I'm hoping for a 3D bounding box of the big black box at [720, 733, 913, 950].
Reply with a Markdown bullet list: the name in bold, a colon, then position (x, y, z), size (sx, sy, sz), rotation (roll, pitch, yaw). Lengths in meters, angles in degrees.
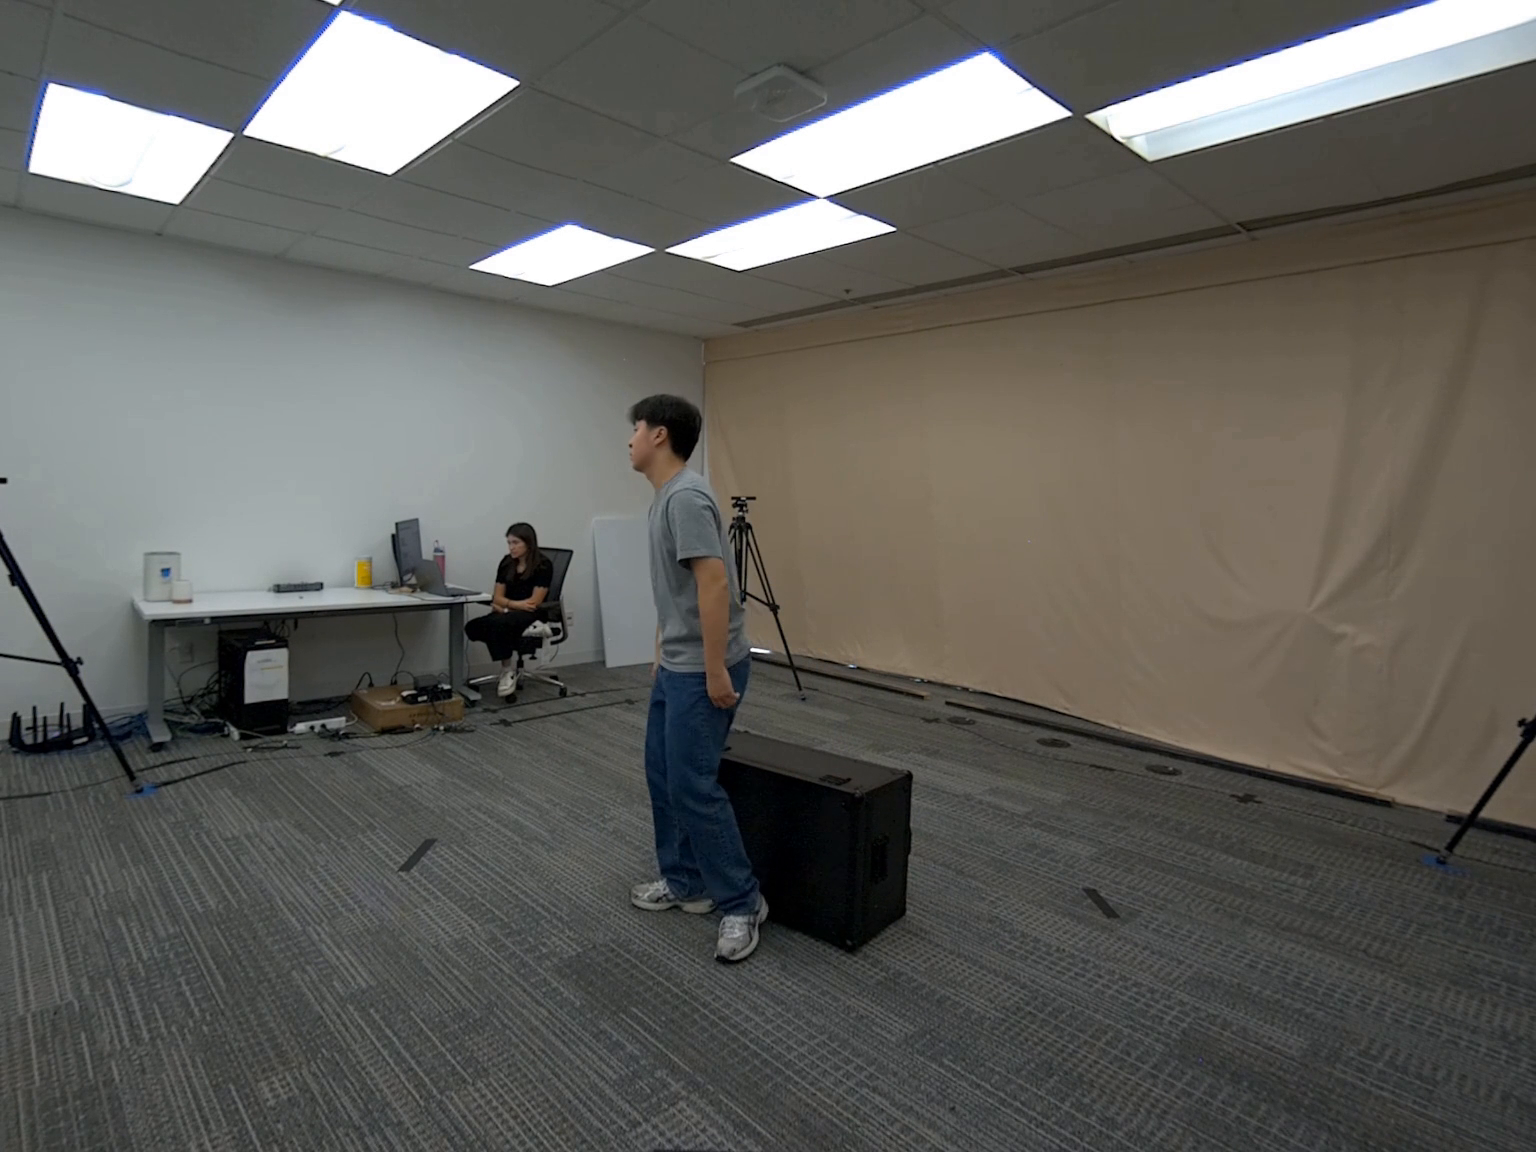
- **big black box**: position (0.039, 0.863, 2.972), size (0.882, 0.521, 0.387), rotation (4, 3, 37)
